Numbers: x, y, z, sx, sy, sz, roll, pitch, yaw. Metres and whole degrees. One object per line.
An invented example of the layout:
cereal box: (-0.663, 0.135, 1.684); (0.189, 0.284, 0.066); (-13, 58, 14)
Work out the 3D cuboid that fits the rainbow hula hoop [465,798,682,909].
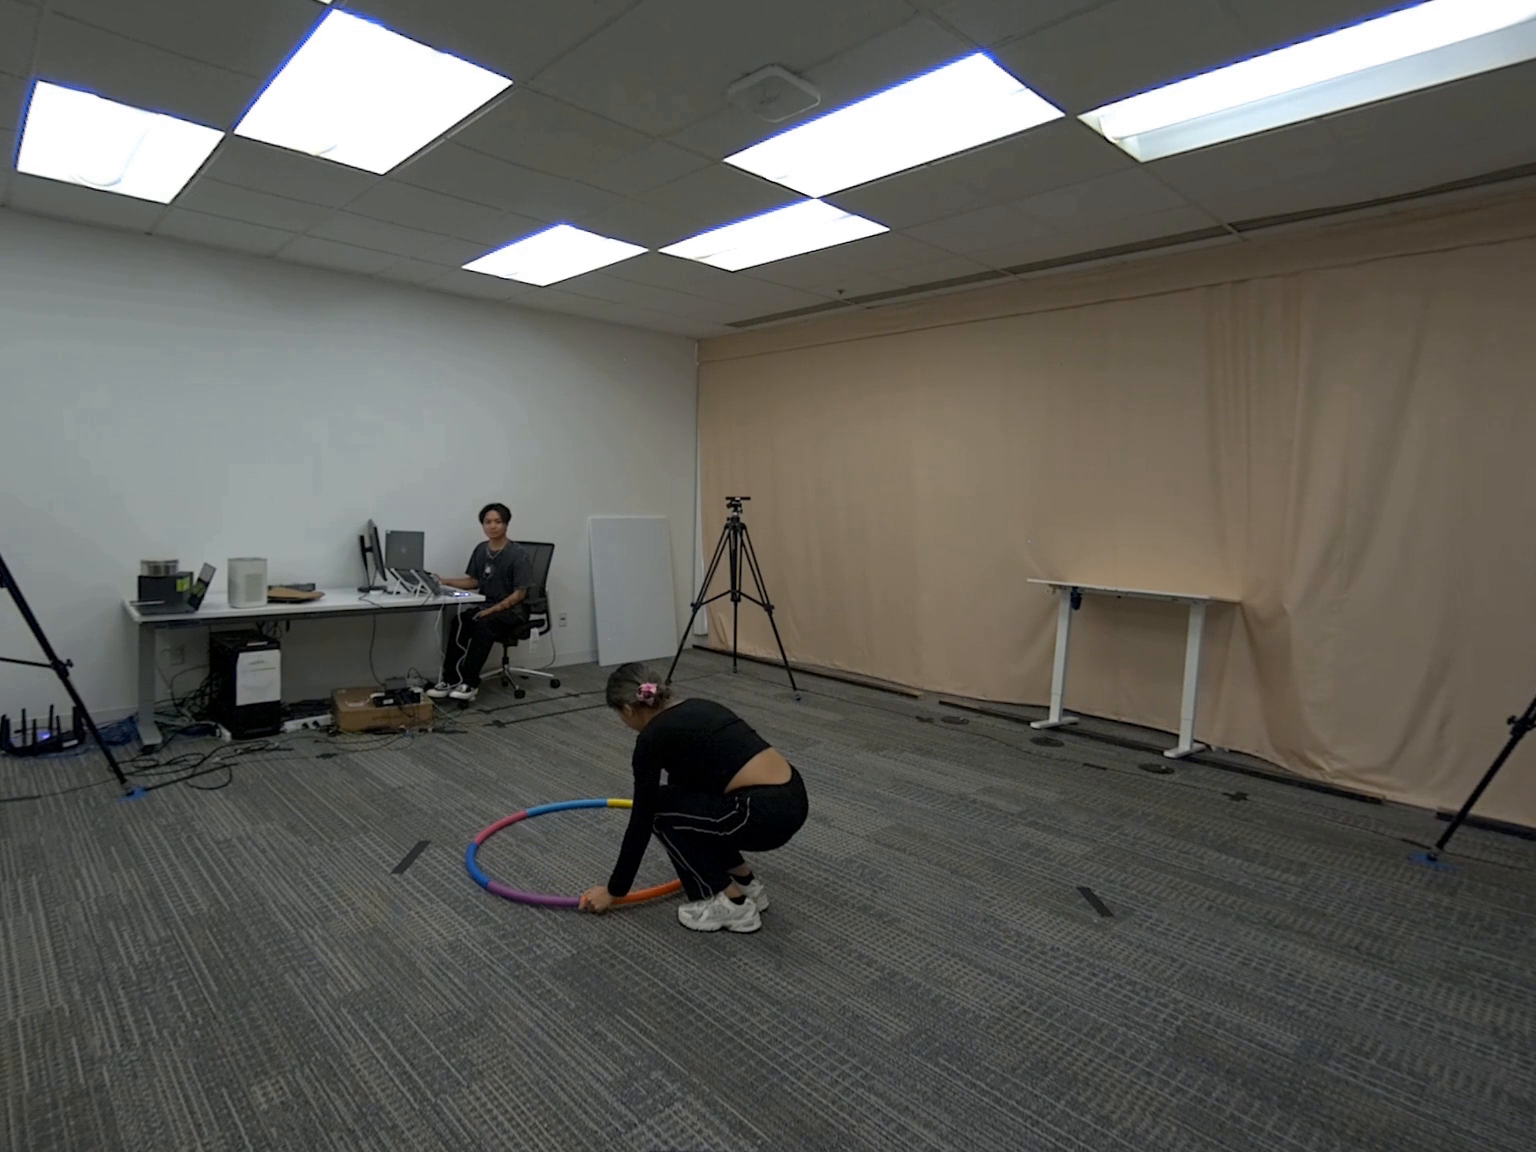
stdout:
rainbow hula hoop: (-0.672, 1.044, 3.299); (0.978, 0.035, 0.982); (1, 5, -1)
